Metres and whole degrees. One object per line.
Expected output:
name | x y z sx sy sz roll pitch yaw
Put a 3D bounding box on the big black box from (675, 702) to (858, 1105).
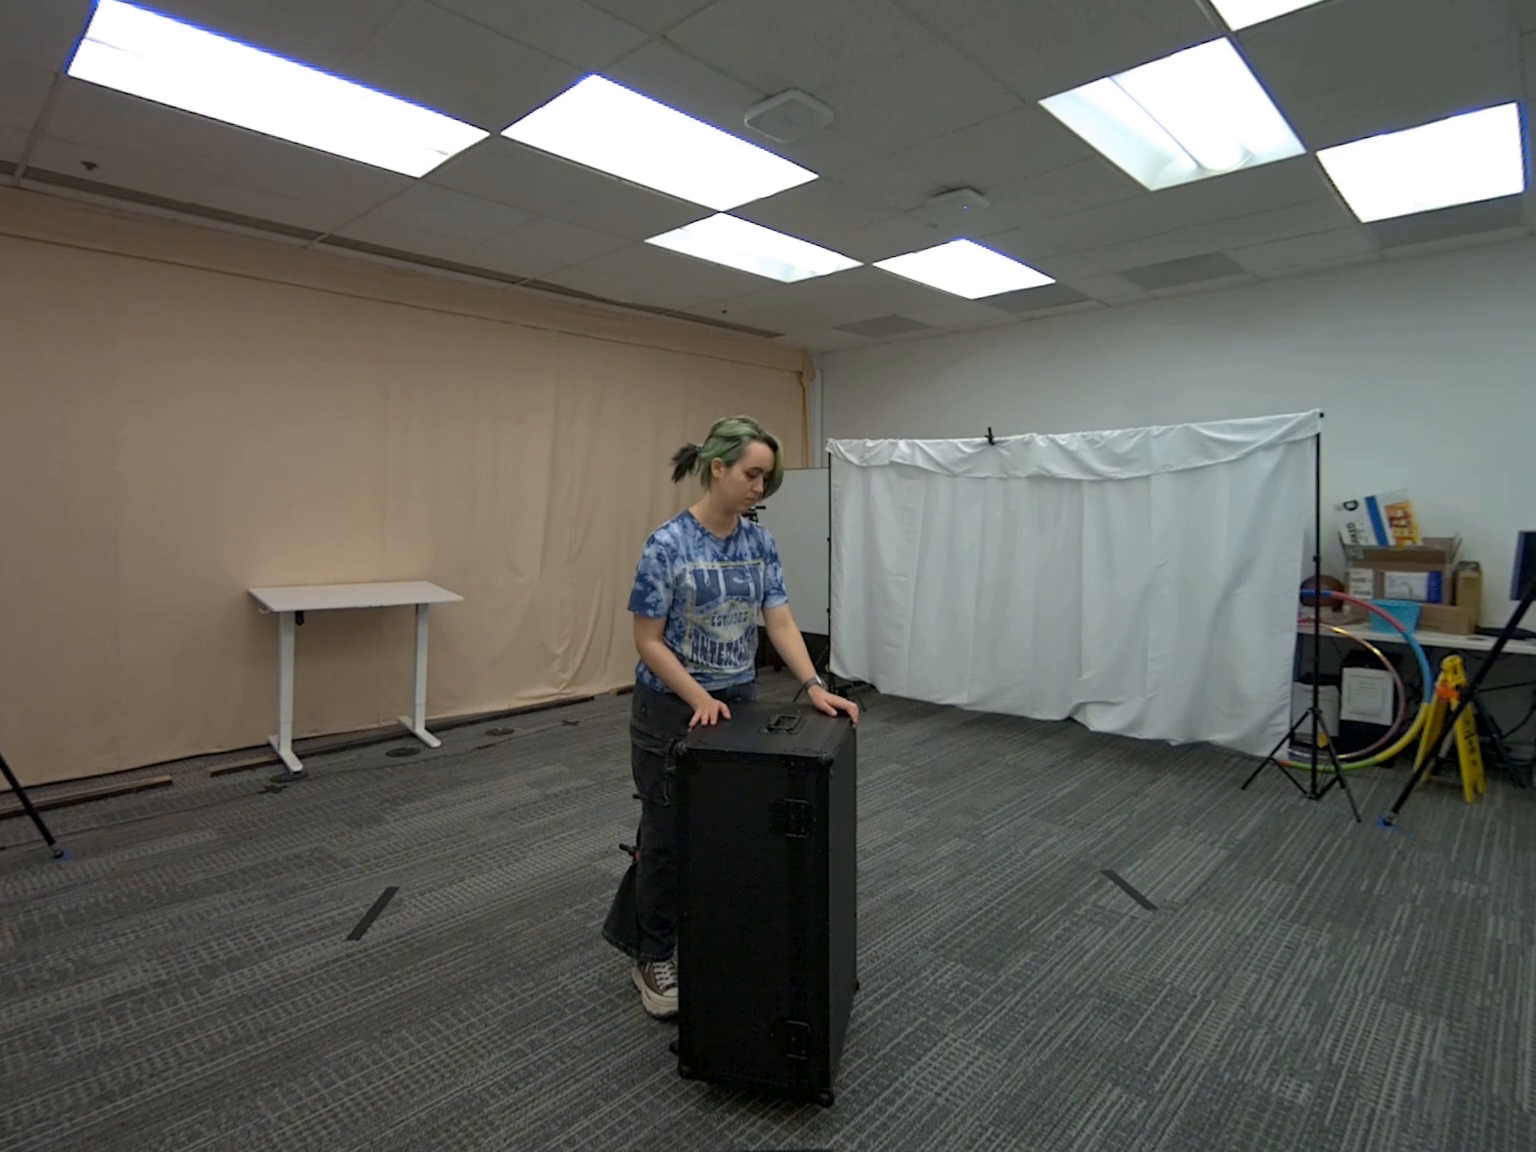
big black box | 0.002 0.794 2.107 0.405 0.859 0.512 1 5 19
